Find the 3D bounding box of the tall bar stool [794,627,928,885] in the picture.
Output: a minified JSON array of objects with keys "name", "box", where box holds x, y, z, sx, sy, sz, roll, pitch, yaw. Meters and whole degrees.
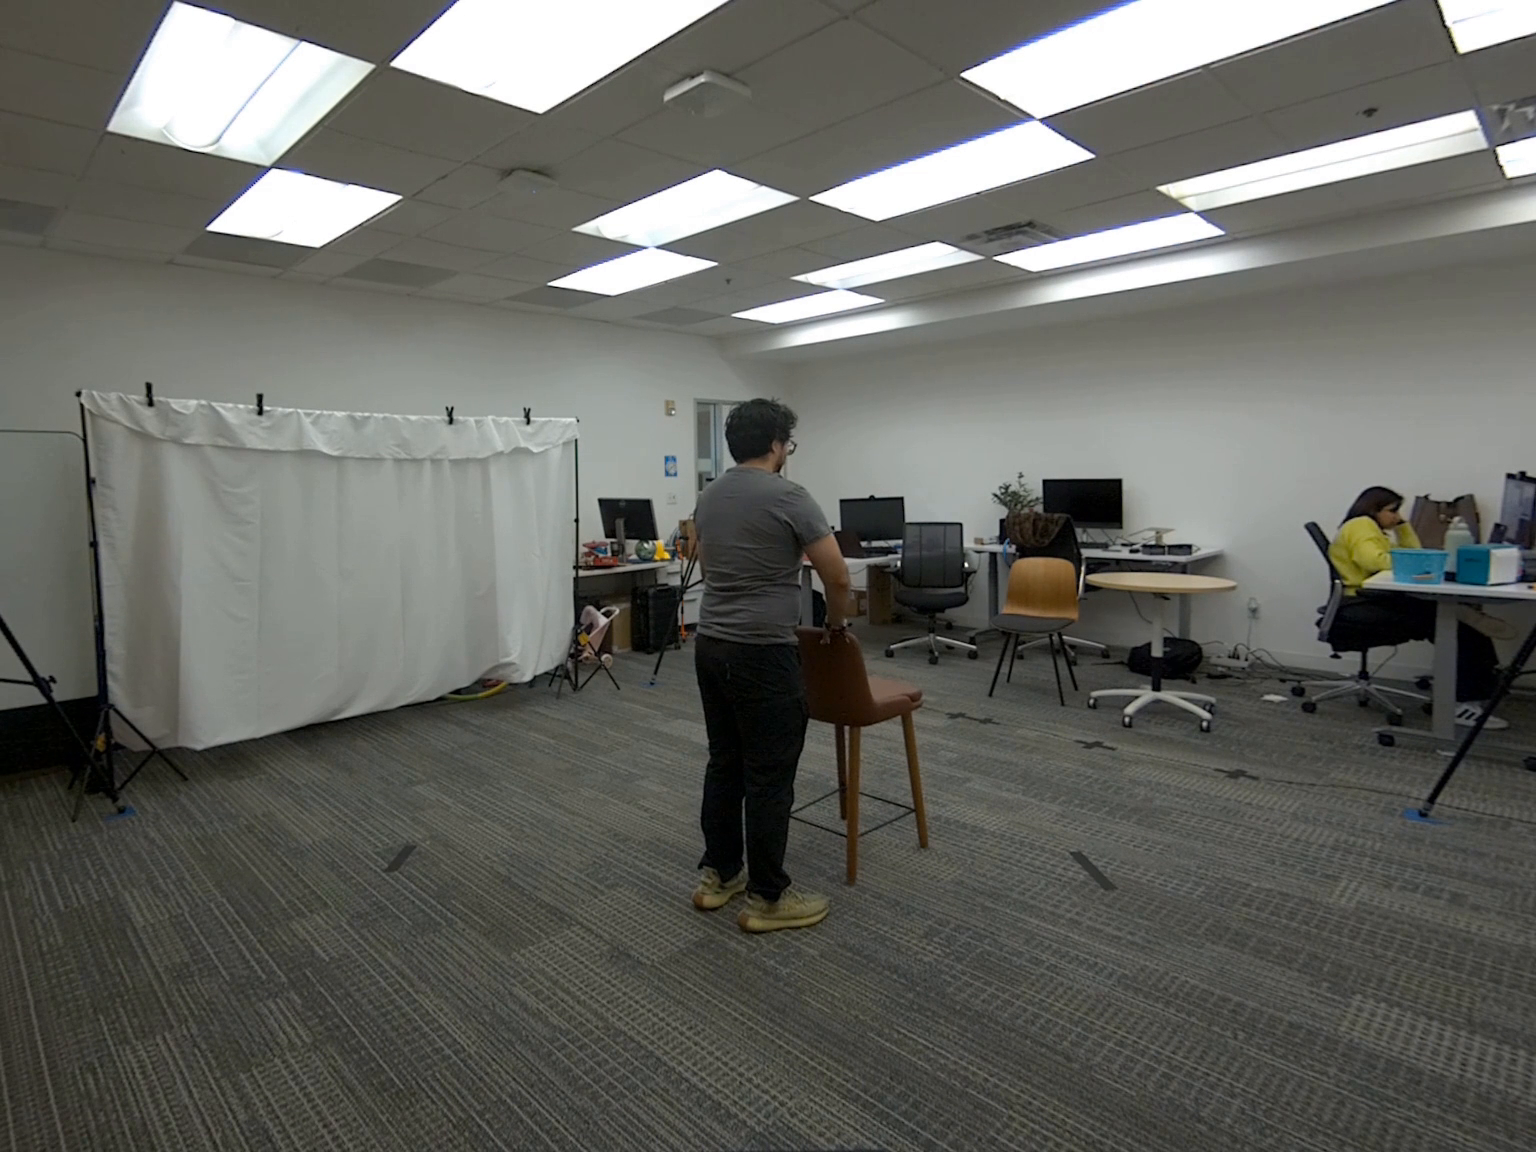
[{"name":"tall bar stool","box":[0.290,0.590,3.177,0.456,0.885,0.470,-7,8,-44]}]
